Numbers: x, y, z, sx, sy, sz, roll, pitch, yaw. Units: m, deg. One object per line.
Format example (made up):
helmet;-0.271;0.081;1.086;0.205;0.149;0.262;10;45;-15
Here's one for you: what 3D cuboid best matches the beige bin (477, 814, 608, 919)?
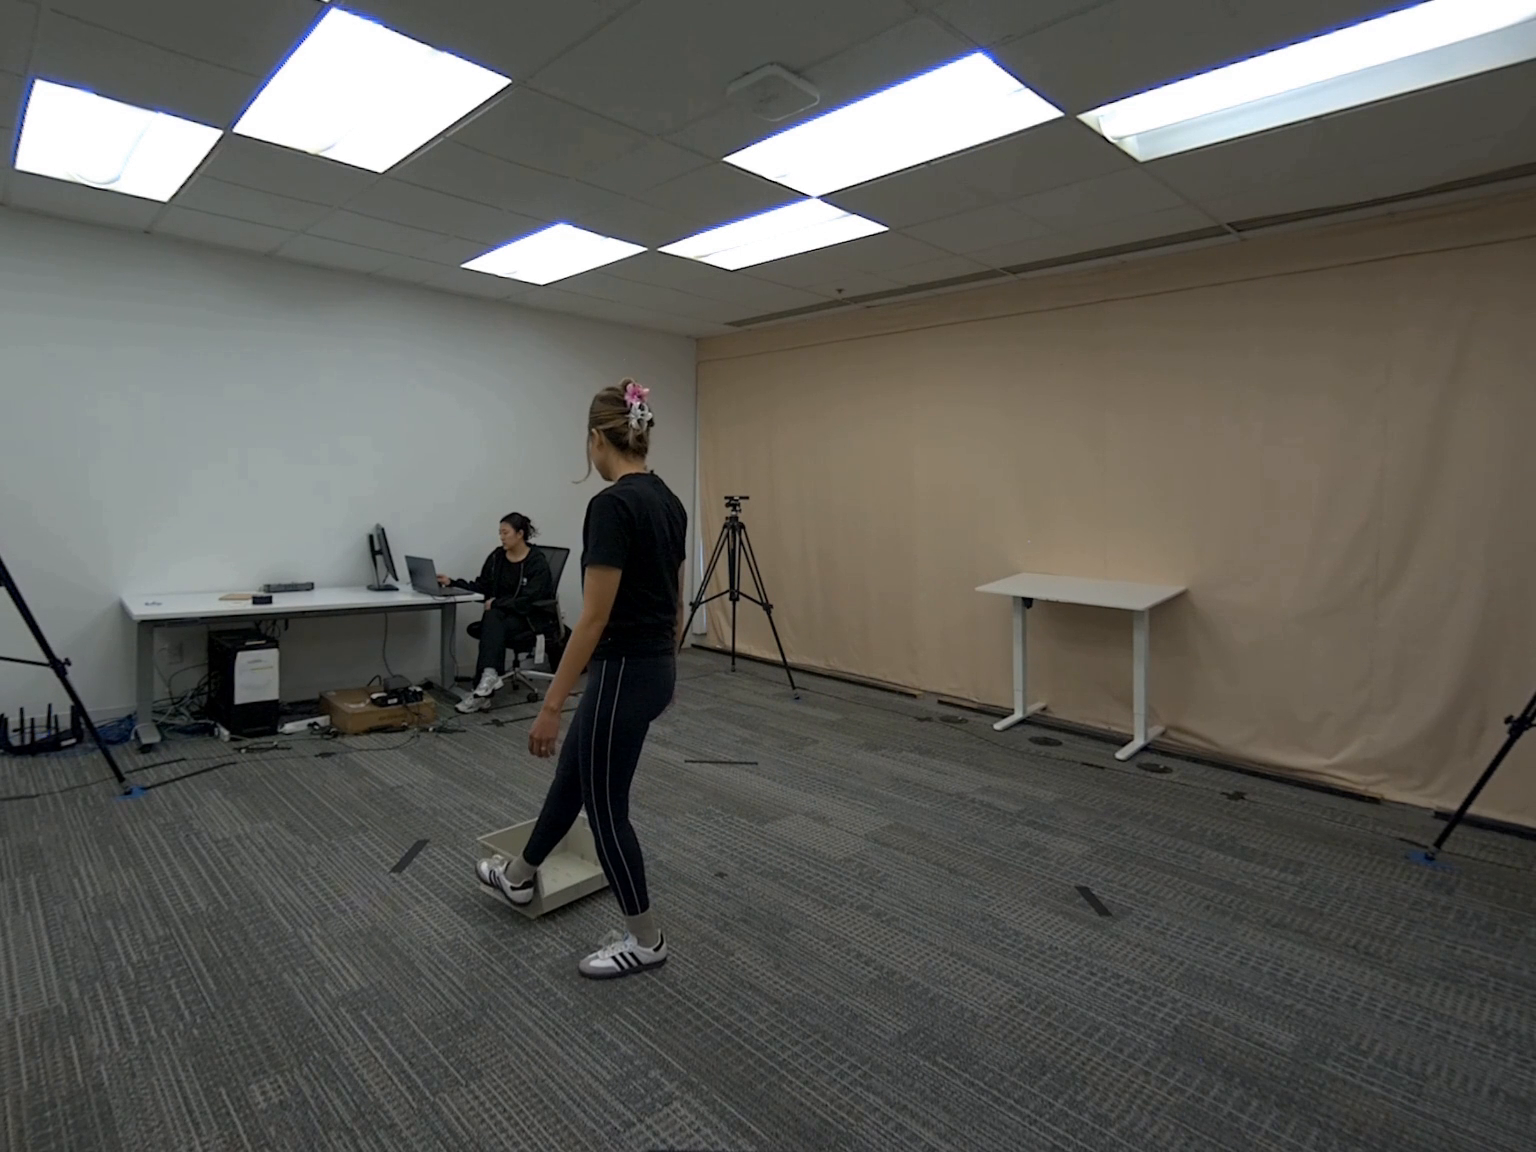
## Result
beige bin;-0.744;1.009;2.981;0.387;0.188;0.413;4;6;39
